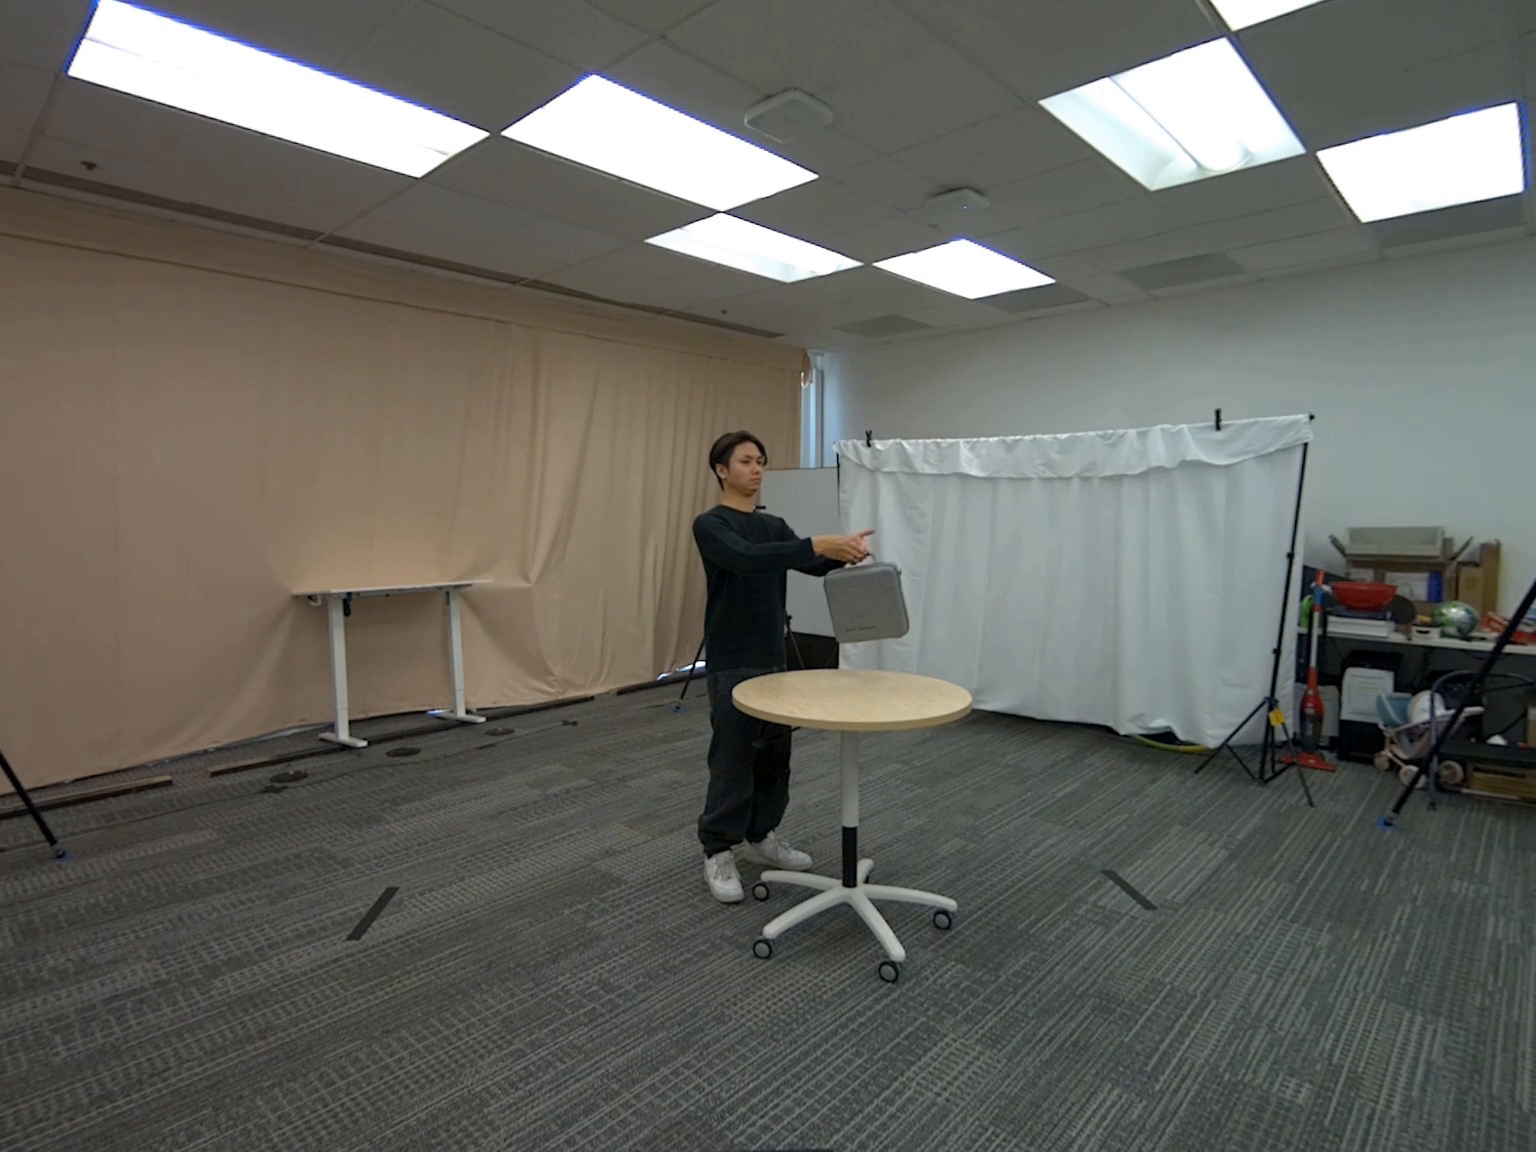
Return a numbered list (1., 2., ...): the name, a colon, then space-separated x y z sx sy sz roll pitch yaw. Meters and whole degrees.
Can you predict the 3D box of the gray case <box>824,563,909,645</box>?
1. gray case: 0.337 0.090 2.874 0.262 0.258 0.103 -8 10 21
